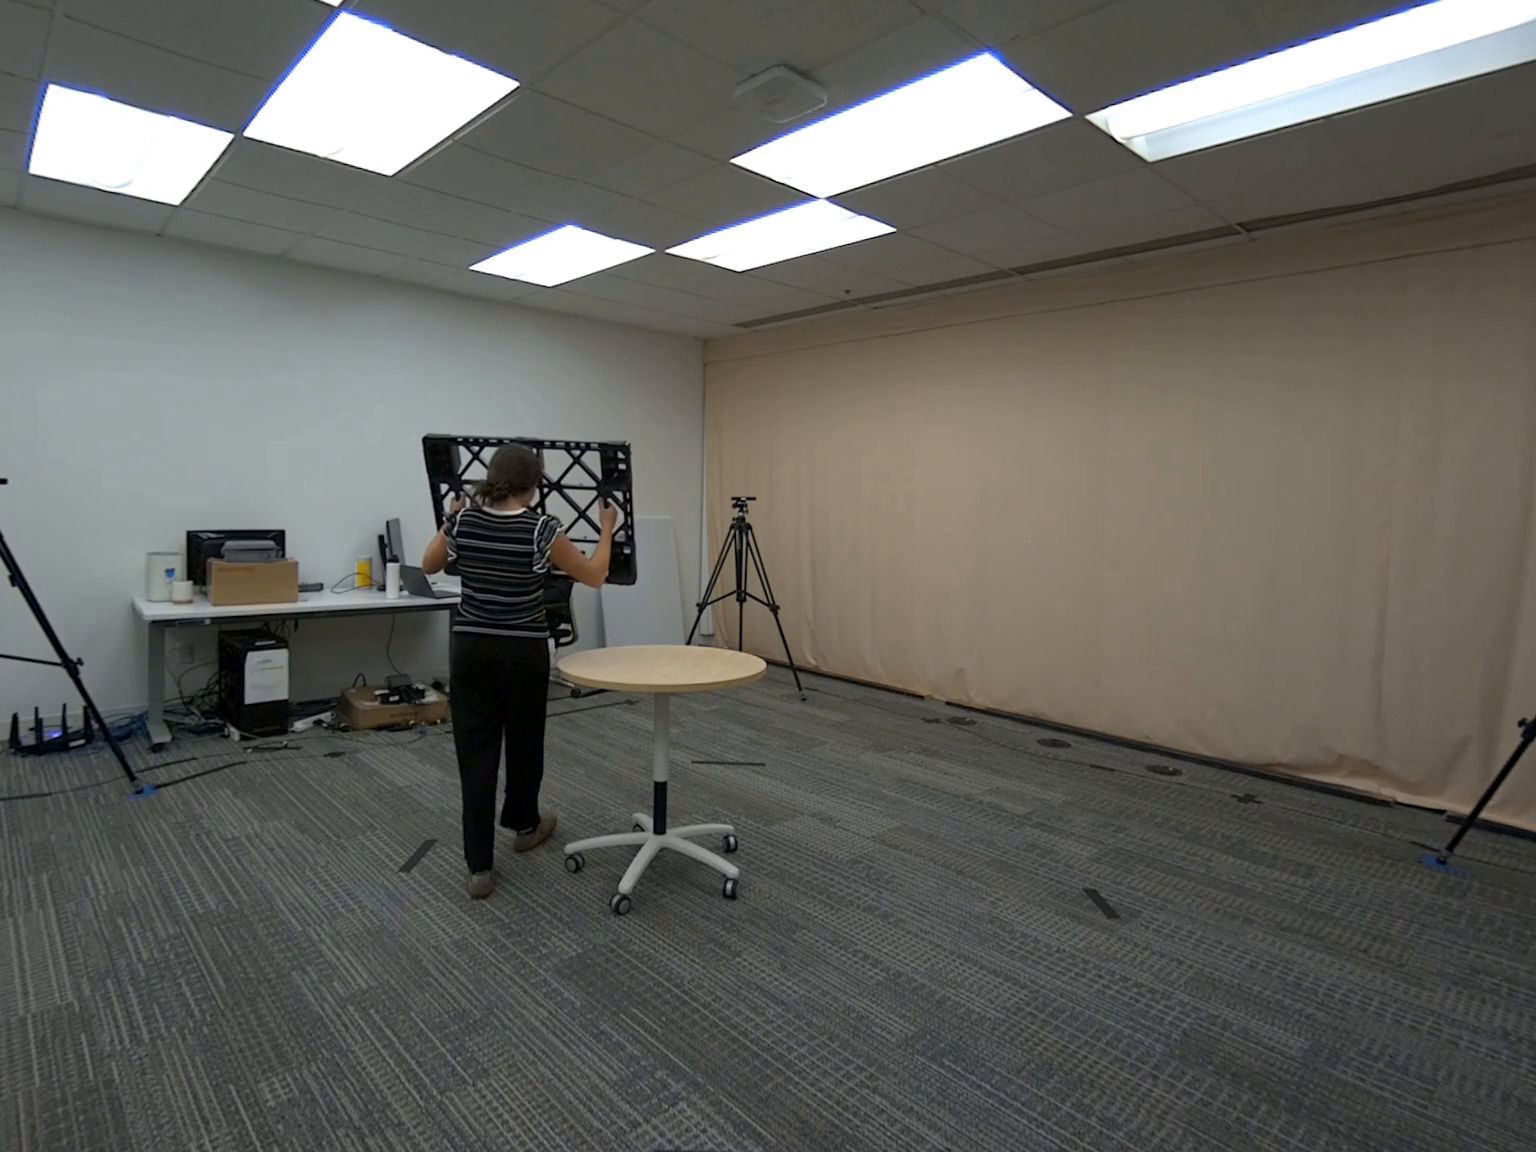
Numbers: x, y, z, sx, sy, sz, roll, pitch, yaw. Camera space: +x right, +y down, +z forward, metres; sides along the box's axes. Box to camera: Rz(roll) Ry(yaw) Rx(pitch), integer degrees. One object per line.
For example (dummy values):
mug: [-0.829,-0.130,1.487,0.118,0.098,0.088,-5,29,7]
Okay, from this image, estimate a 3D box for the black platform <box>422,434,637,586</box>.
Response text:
black platform: [-0.928,-0.276,3.333,0.809,0.595,0.145,3,25,6]
